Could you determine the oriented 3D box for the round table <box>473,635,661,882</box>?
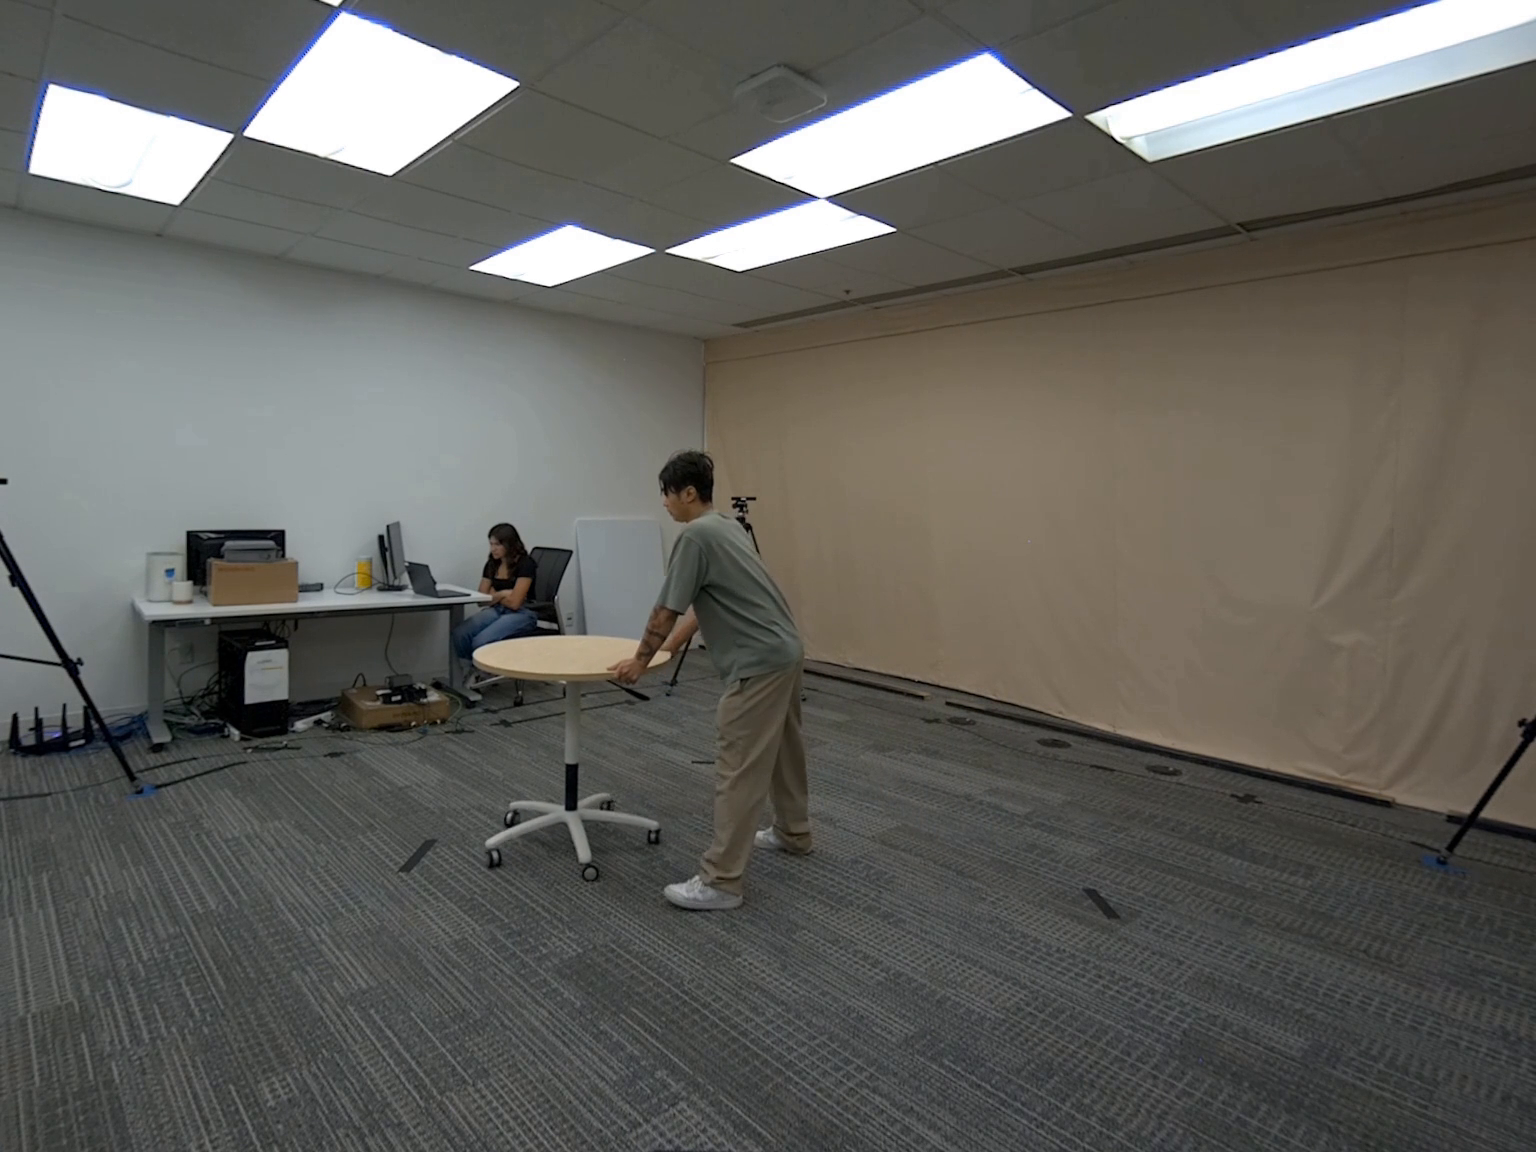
[{"bbox_3d":[-0.788,0.681,3.356,0.784,0.784,0.788,2,4,-2],"label":"round table"}]
